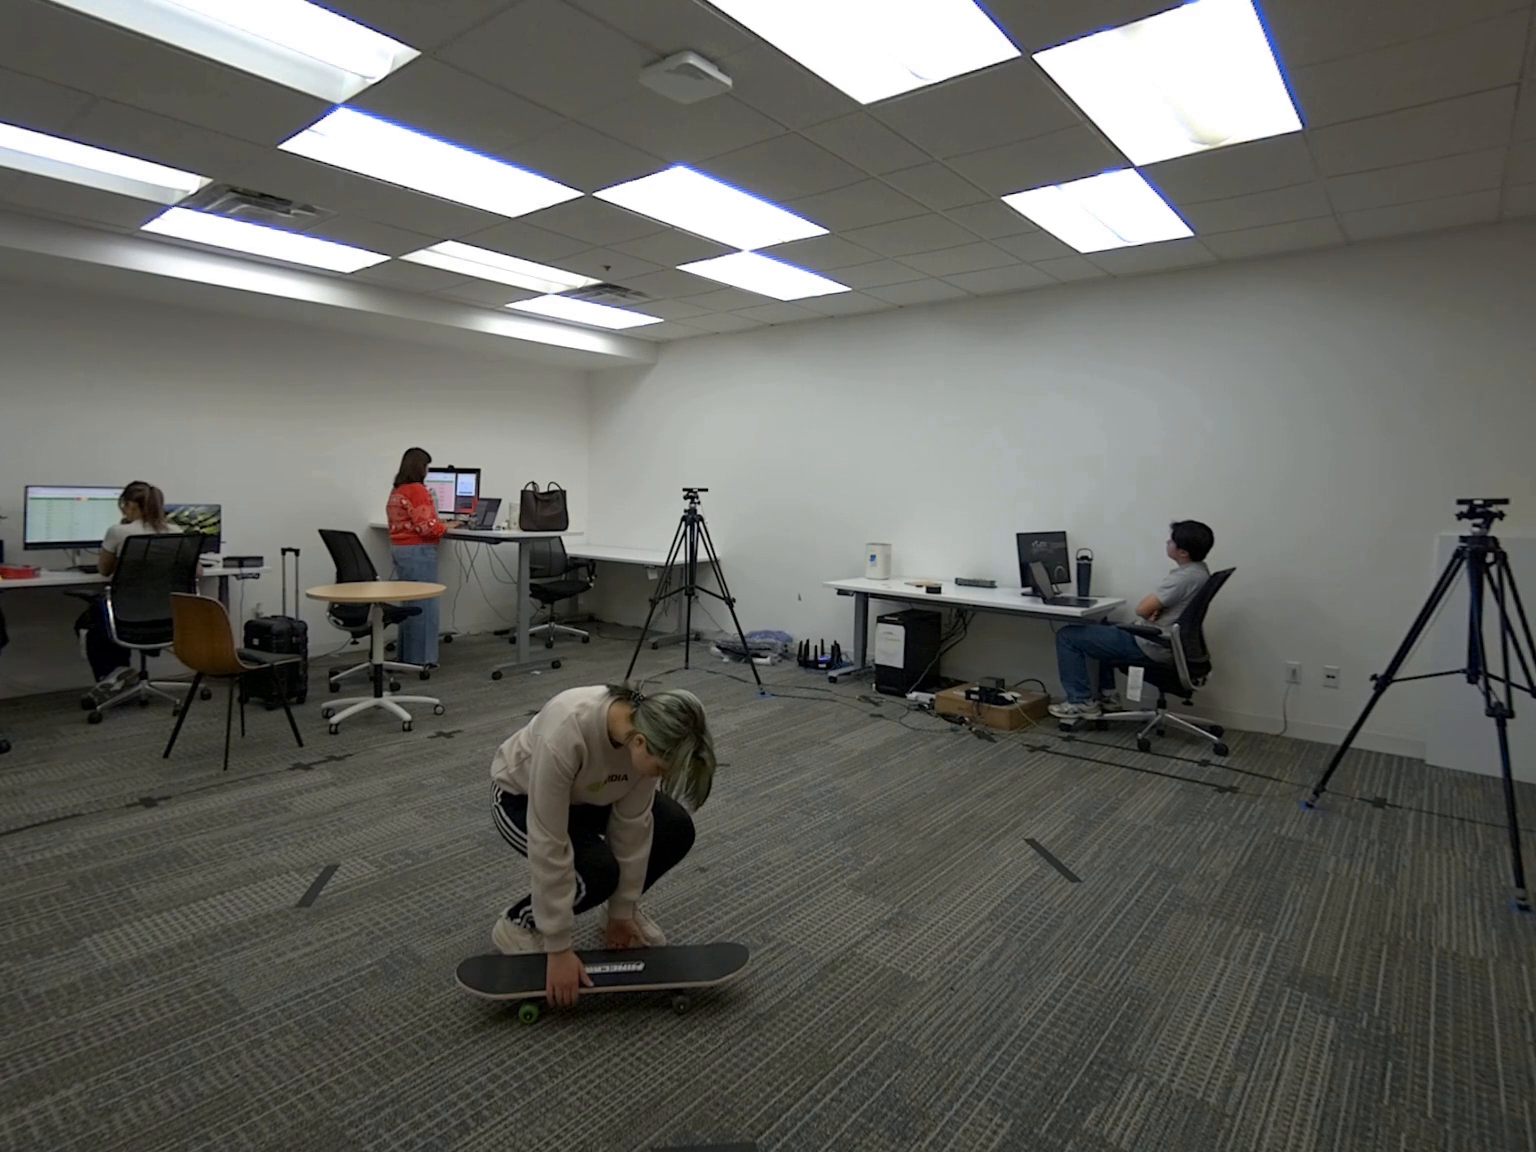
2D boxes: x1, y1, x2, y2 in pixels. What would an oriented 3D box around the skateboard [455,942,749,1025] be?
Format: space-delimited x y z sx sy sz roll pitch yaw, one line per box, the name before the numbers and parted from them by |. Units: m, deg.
skateboard | -0.437 1.087 2.299 0.779 0.110 0.196 0 6 -8
